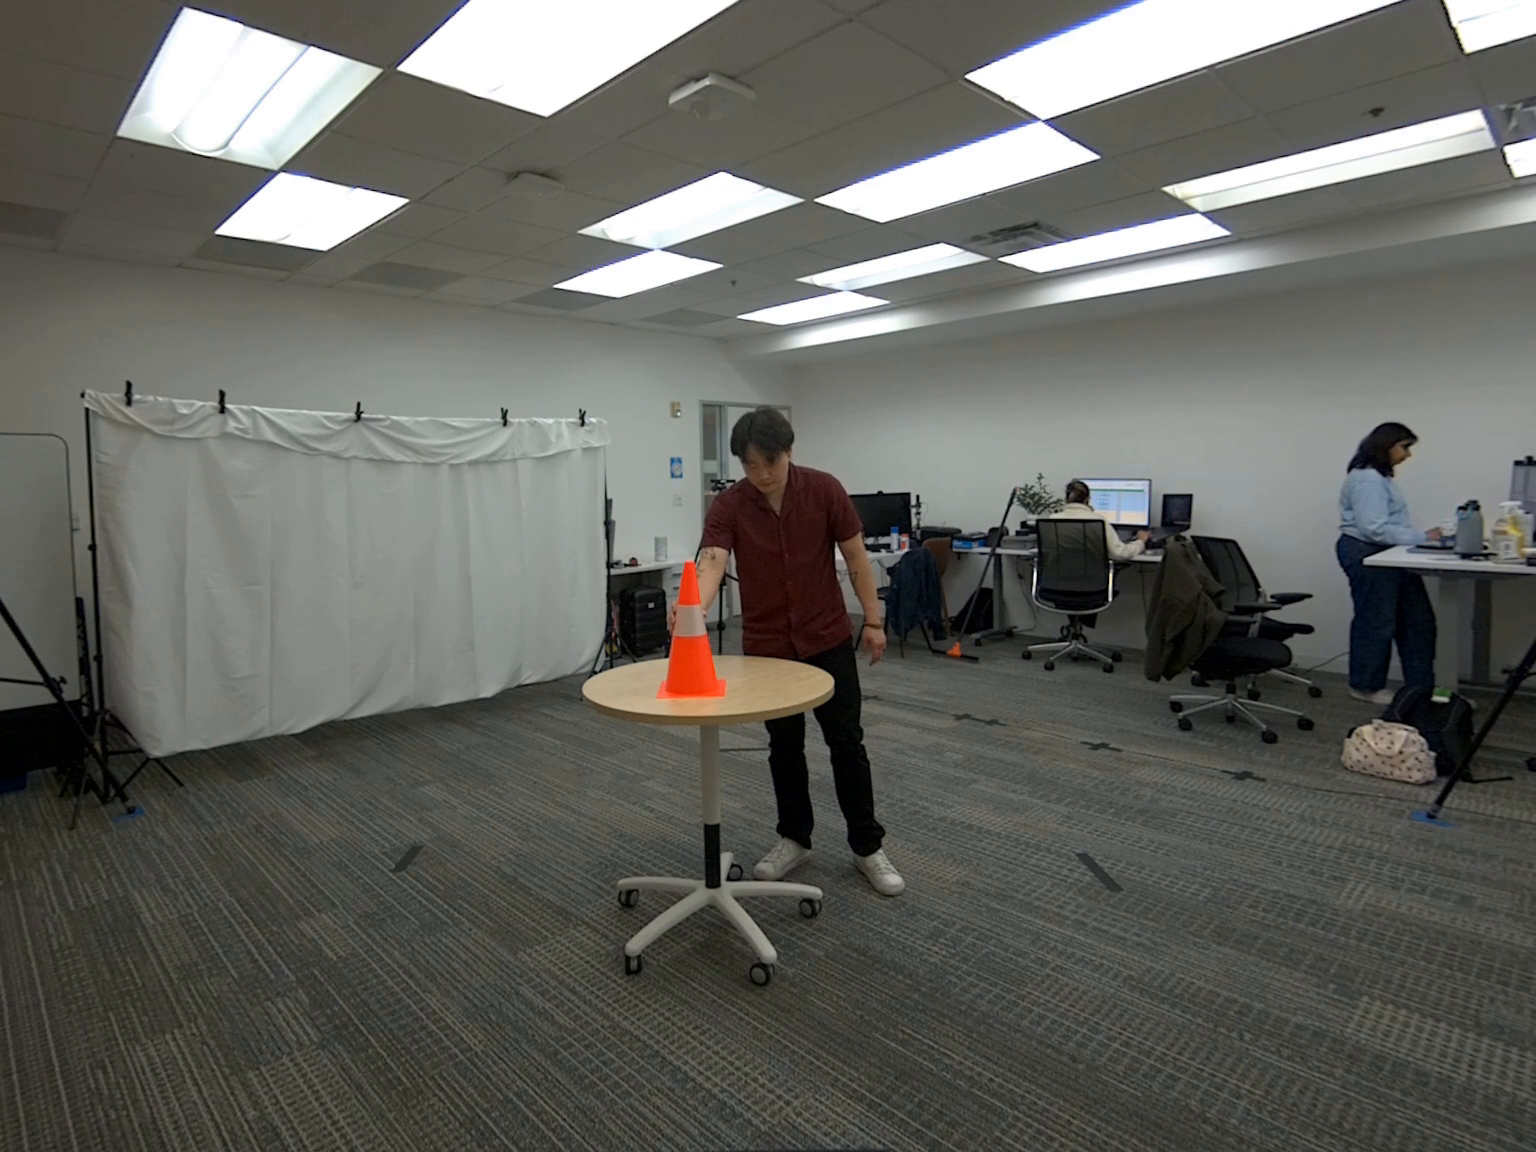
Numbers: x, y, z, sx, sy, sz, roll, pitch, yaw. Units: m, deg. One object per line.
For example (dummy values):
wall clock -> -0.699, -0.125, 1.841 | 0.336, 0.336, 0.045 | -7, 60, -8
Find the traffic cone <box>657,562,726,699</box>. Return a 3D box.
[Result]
traffic cone -> -0.226, 0.151, 2.509 | 0.203, 0.383, 0.205 | -1, 2, -1
